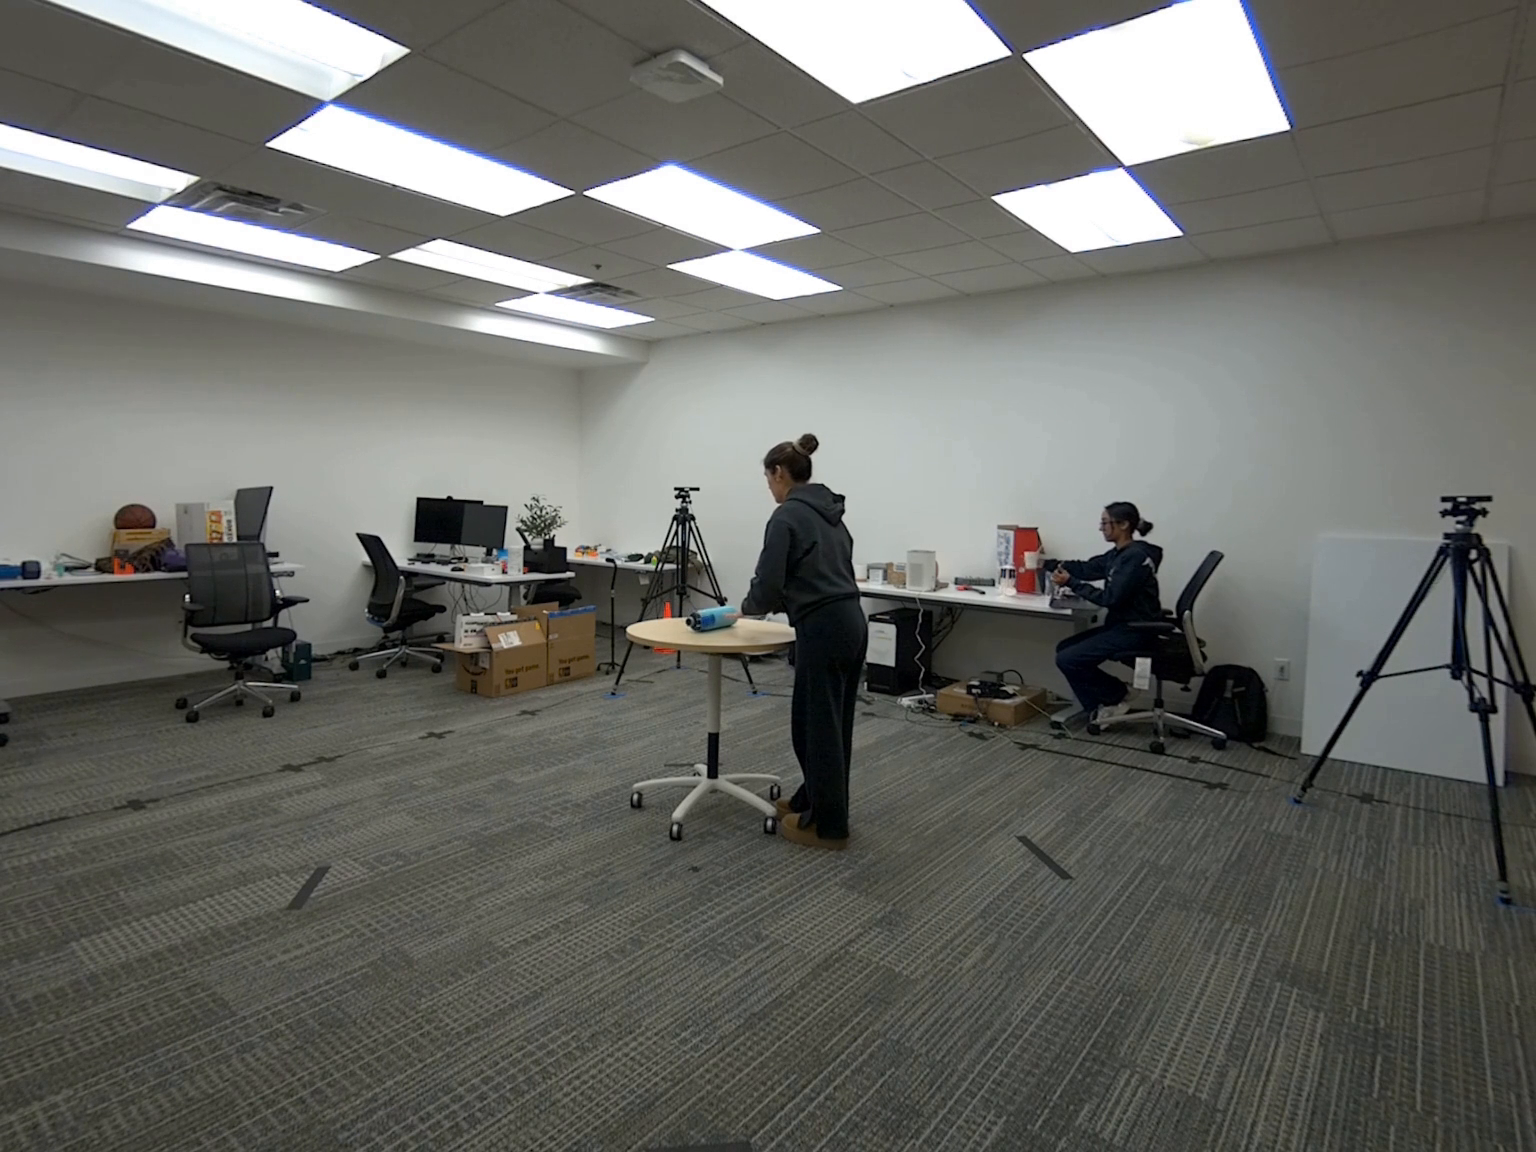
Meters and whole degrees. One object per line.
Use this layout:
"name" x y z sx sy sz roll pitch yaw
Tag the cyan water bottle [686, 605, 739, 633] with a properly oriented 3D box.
"cyan water bottle" -0.246 0.180 3.682 0.095 0.092 0.276 3 5 33
